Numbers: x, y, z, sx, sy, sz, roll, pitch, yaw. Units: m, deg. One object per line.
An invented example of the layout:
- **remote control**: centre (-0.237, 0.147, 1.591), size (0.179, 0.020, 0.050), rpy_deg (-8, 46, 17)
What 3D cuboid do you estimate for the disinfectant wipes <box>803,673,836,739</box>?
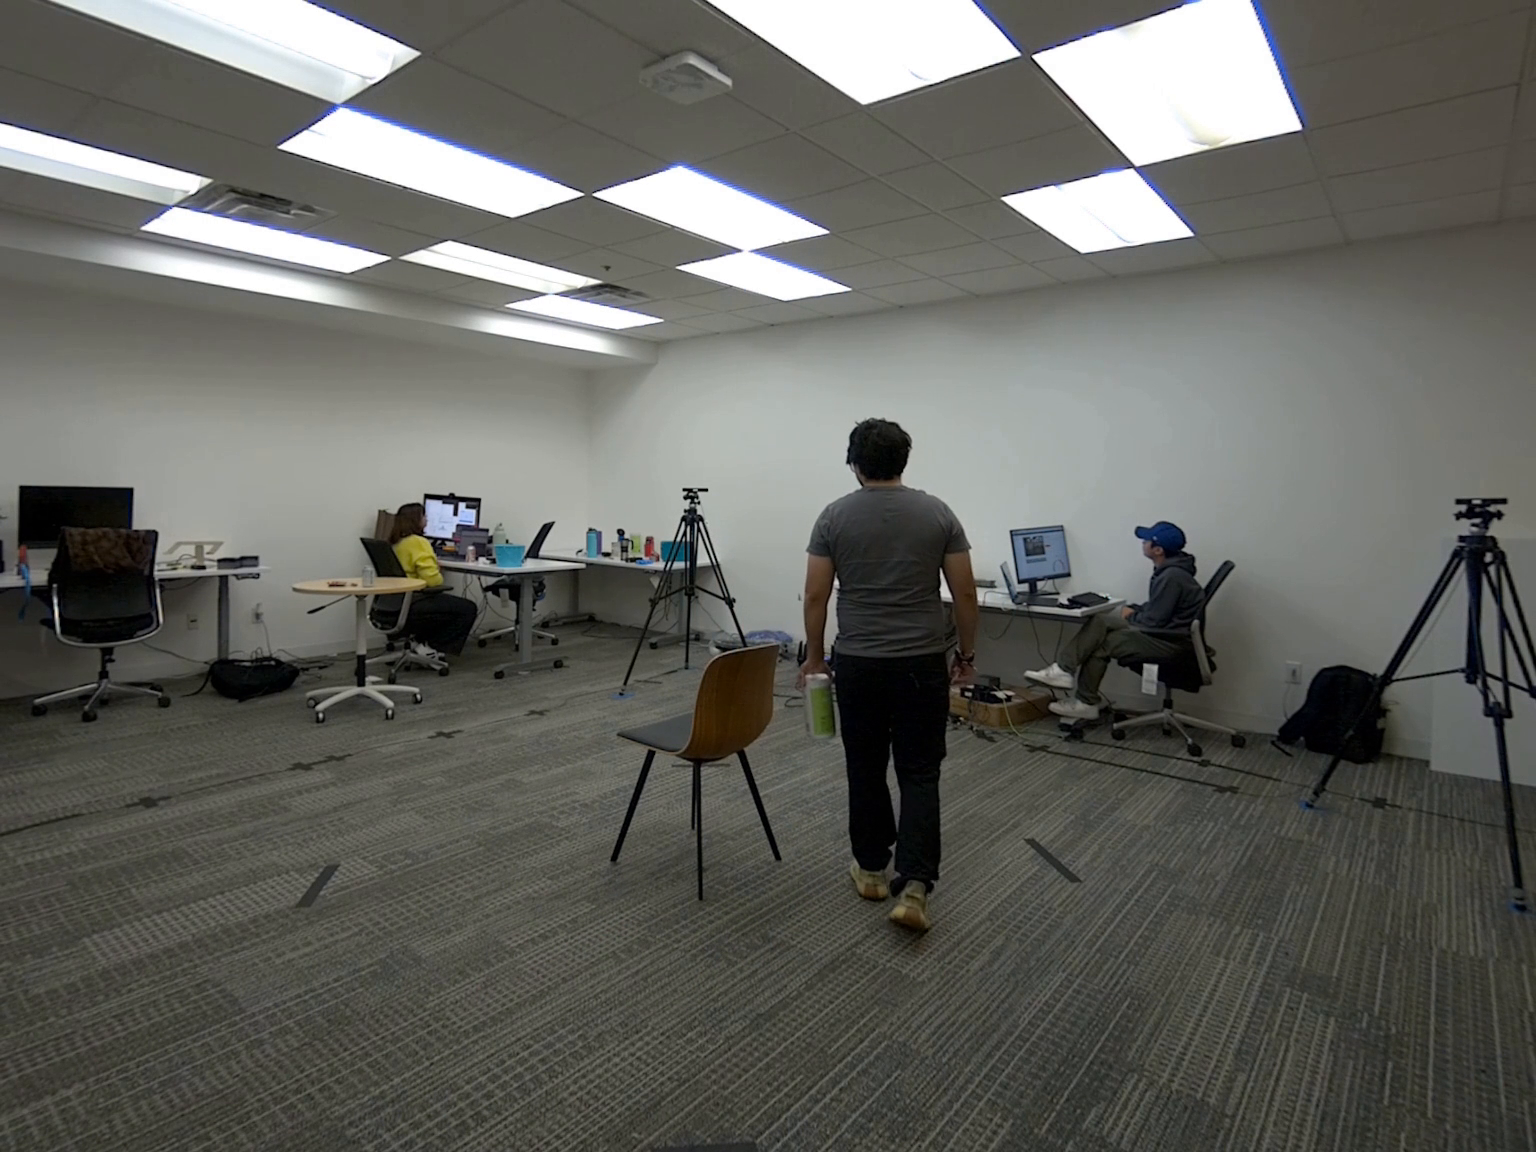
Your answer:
- **disinfectant wipes**: centre (0.169, 0.470, 3.052), size (0.118, 0.216, 0.118), rpy_deg (-5, 5, -1)
